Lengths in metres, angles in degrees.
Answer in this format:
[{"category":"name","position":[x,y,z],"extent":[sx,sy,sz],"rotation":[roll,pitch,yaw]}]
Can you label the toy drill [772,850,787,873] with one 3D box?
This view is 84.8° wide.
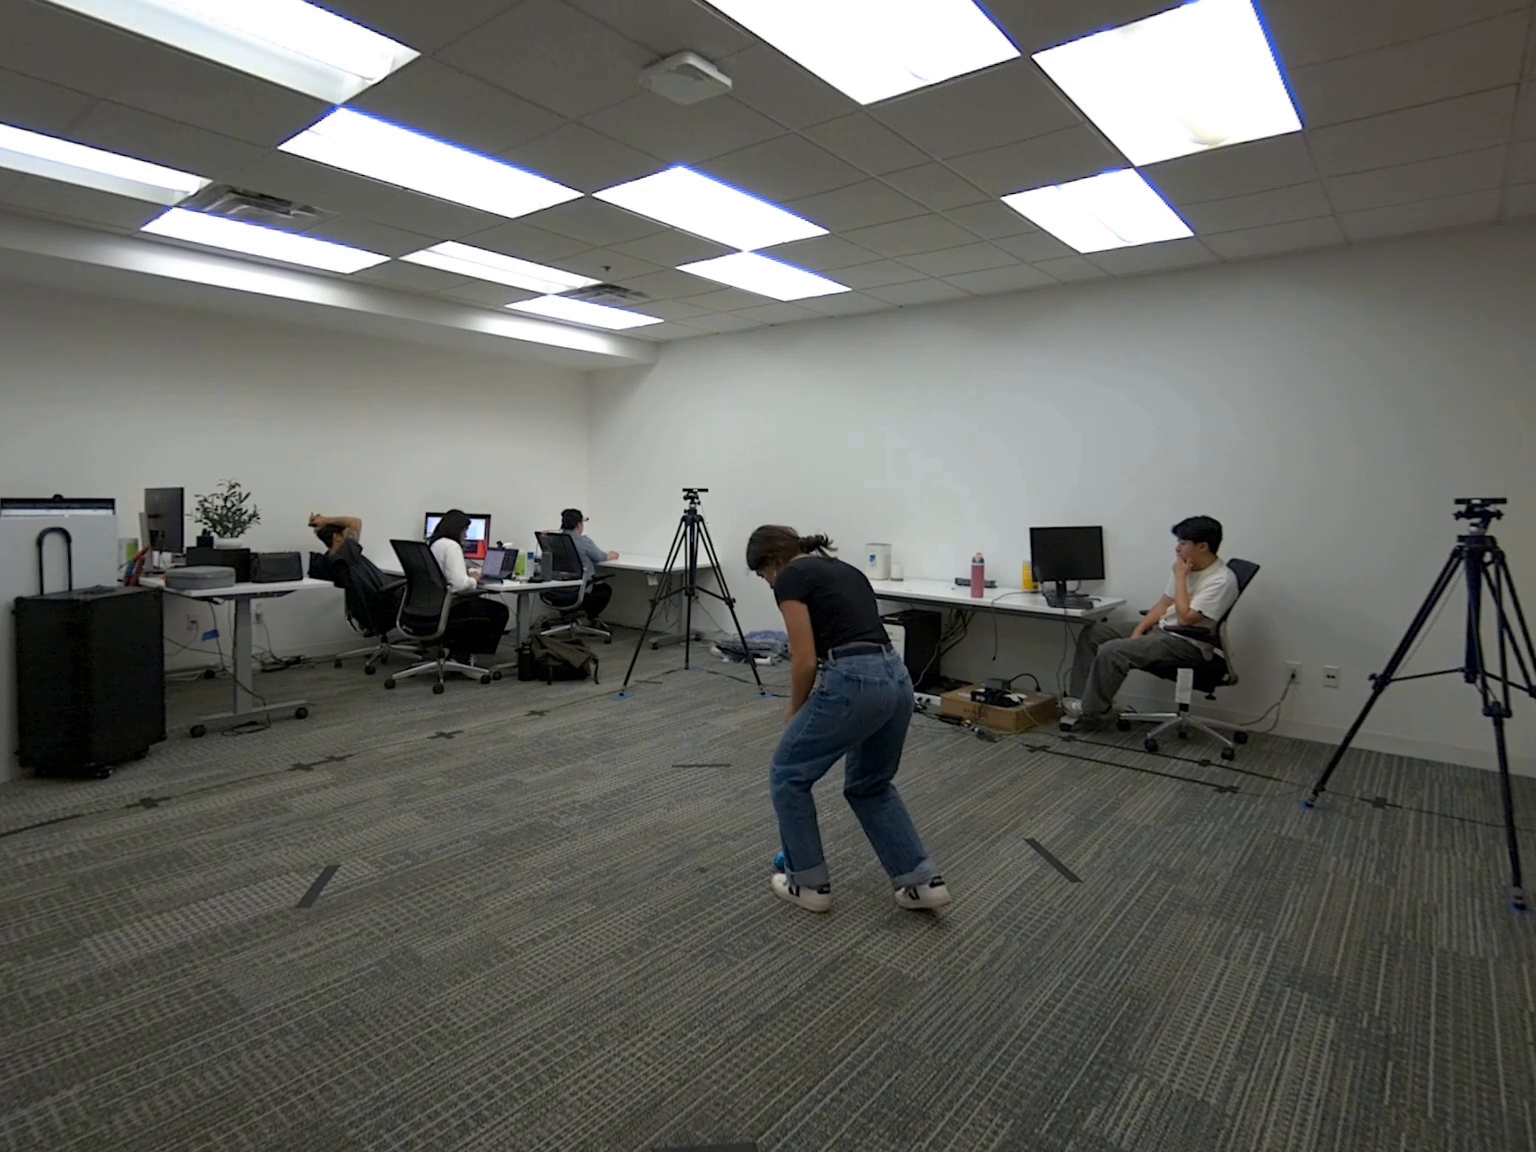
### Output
[{"category":"toy drill","position":[0.118,1.036,3.144],"extent":[0.151,0.061,0.166],"rotation":[5,11,35]}]
